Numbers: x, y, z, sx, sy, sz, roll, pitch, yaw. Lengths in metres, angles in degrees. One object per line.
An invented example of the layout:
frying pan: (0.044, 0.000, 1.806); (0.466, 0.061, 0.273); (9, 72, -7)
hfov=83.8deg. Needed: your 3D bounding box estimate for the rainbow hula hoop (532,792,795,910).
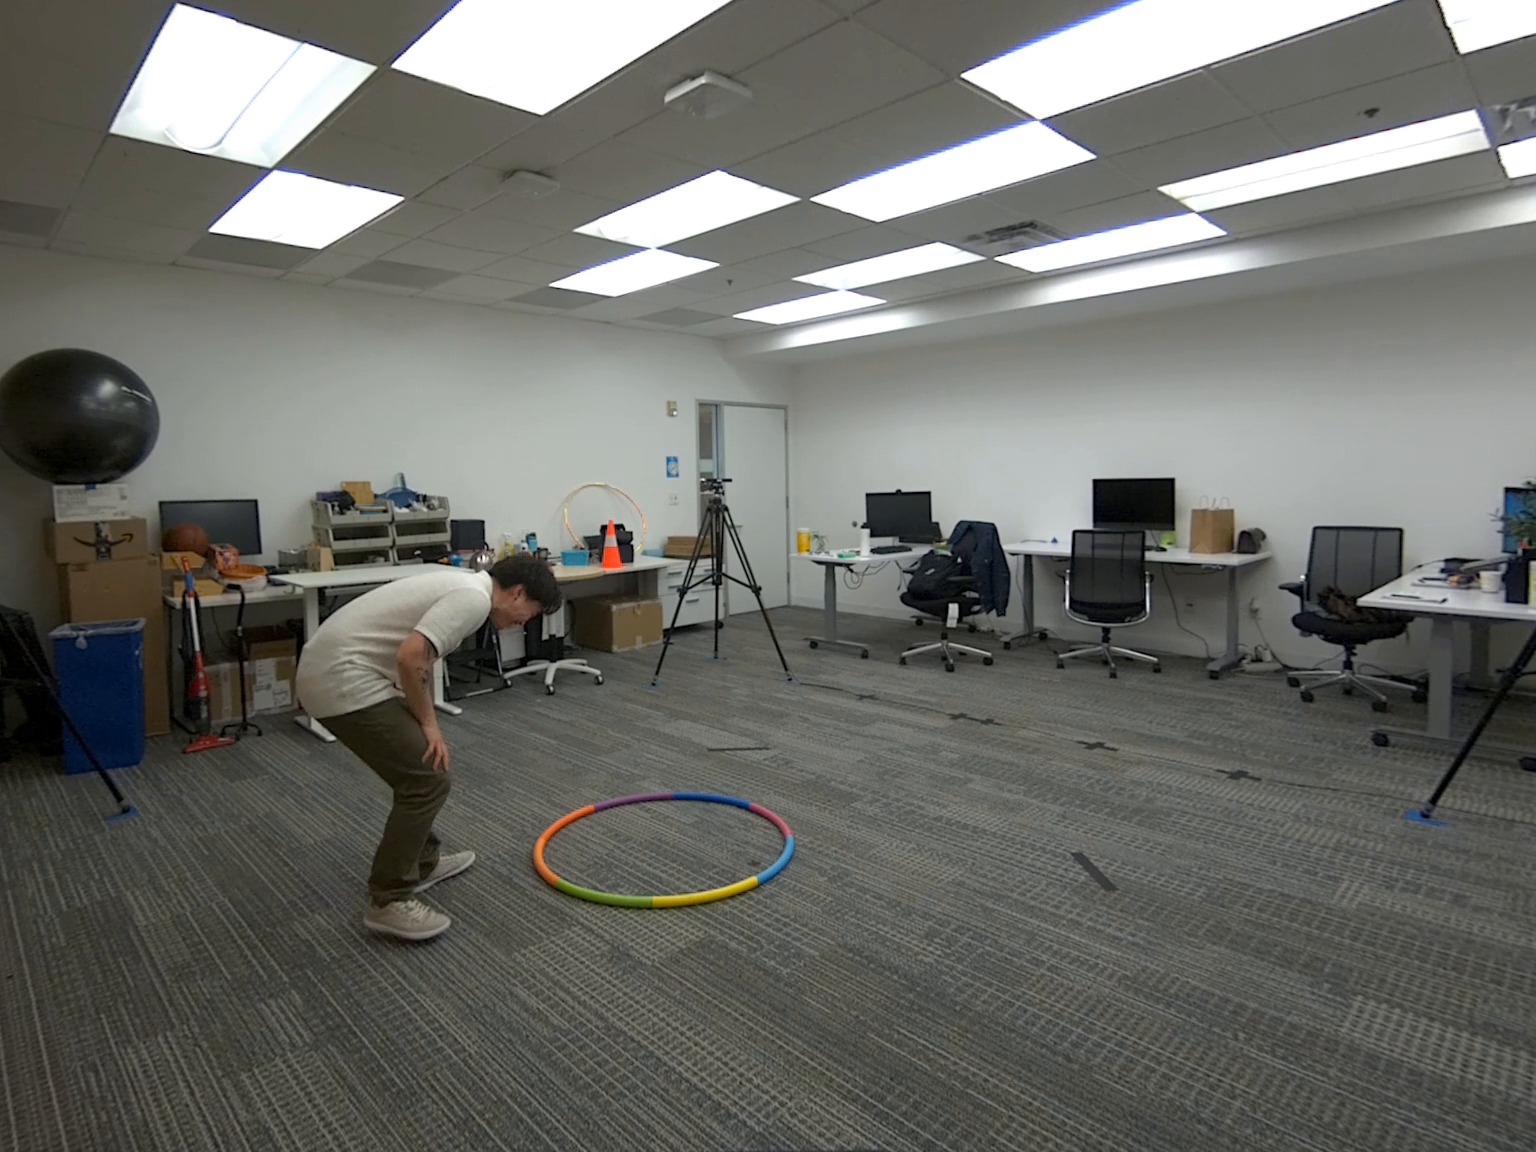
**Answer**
rainbow hula hoop: (-0.387, 1.003, 3.270); (0.978, 0.035, 0.984); (-1, 6, -2)
